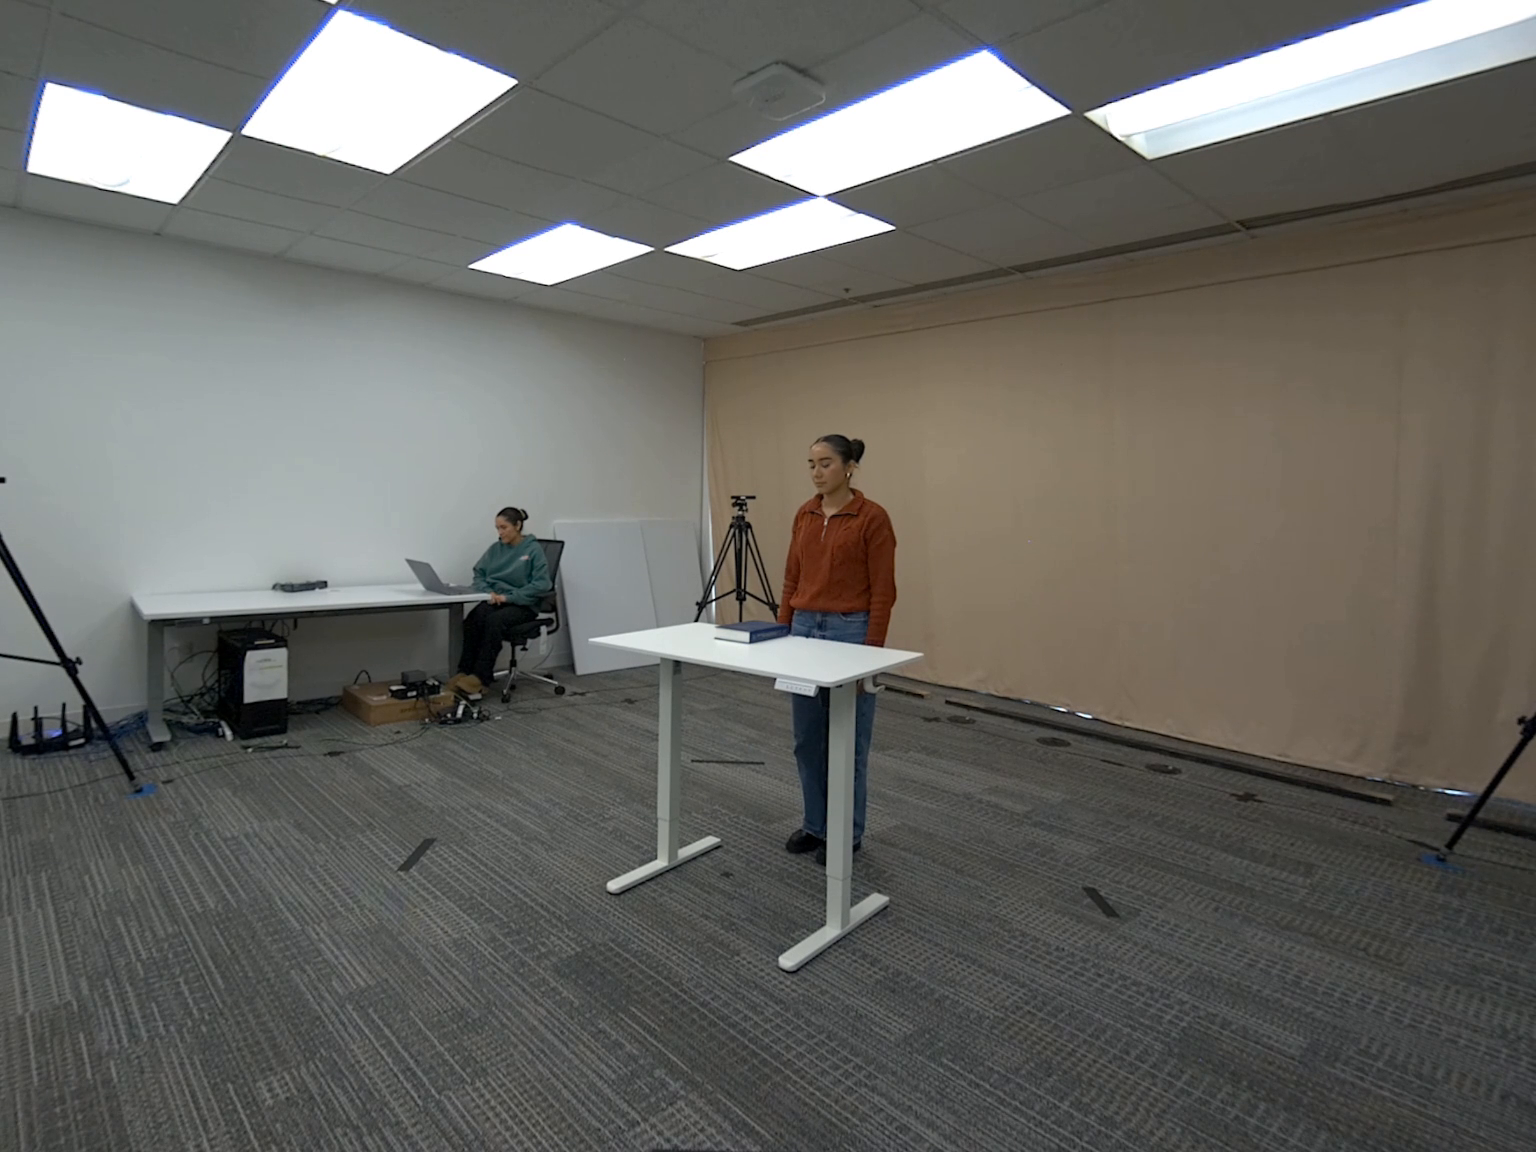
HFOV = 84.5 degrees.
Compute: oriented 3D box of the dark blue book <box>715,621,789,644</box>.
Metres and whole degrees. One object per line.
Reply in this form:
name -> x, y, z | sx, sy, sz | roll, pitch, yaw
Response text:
dark blue book -> -0.067, 0.205, 3.082 | 0.167, 0.045, 0.240 | 5, 6, 34
